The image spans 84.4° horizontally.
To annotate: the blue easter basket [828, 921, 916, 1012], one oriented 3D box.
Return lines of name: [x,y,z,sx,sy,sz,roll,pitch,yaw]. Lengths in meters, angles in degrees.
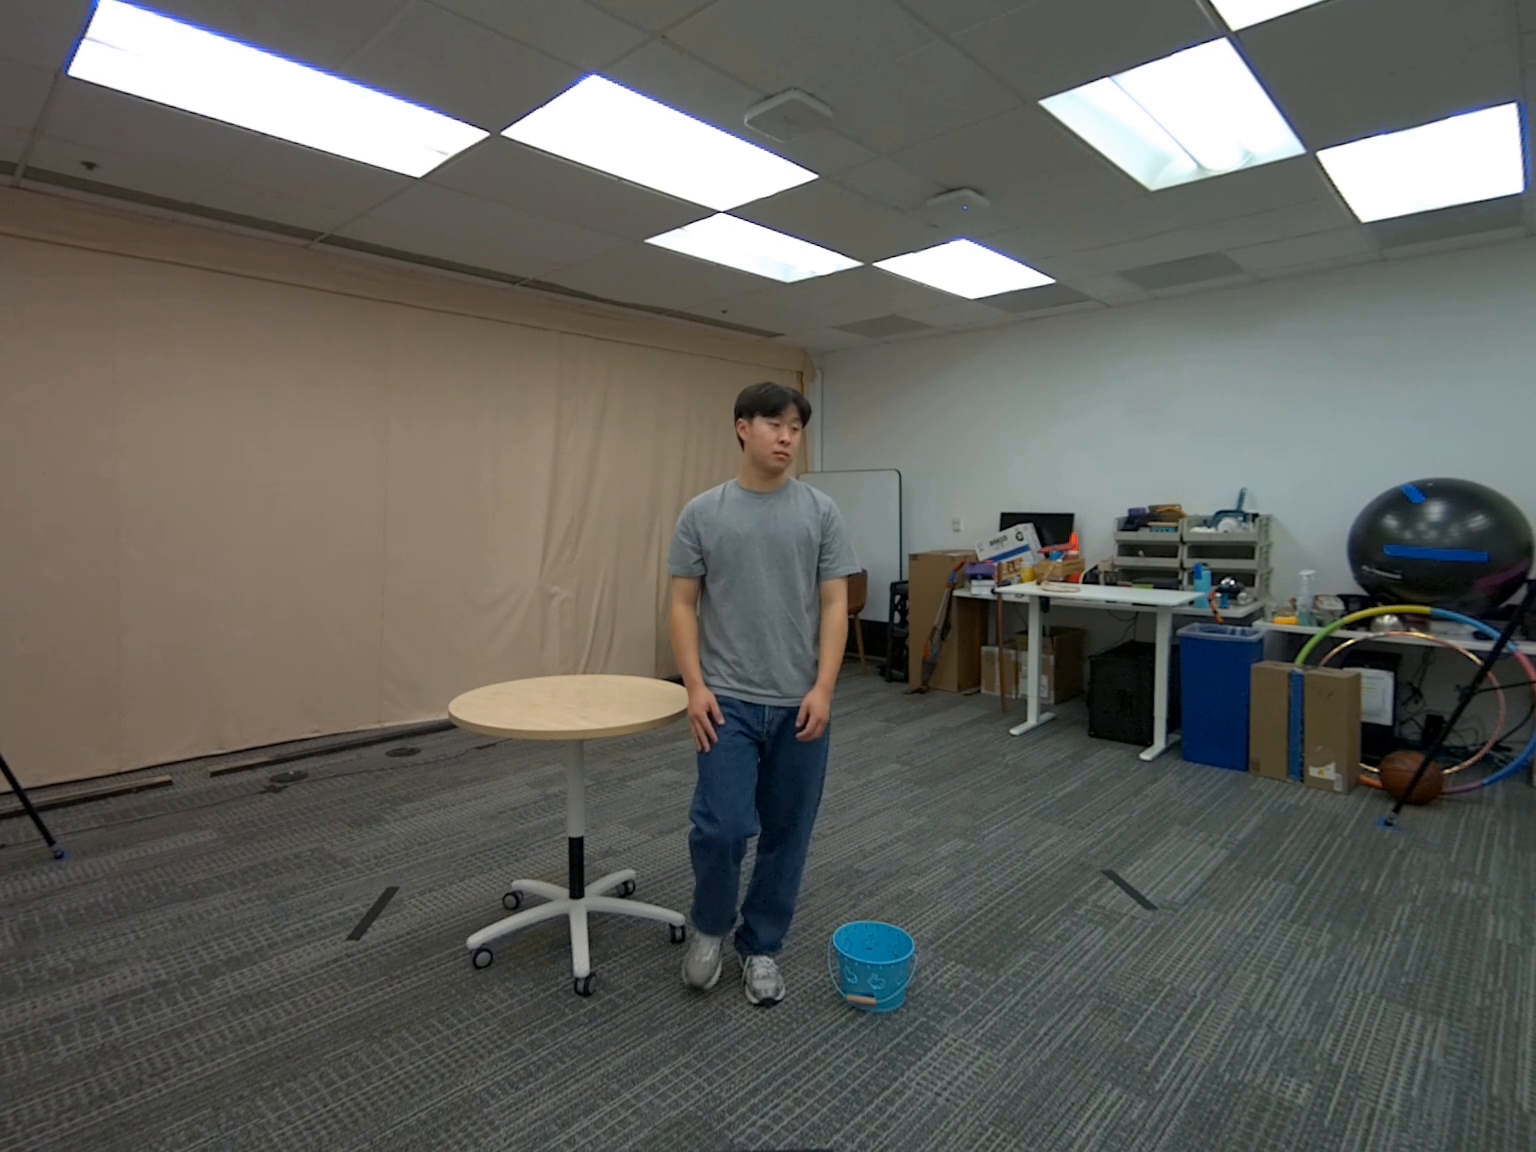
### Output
blue easter basket: [0.300,1.119,2.389,0.243,0.155,0.244,1,4,-2]
